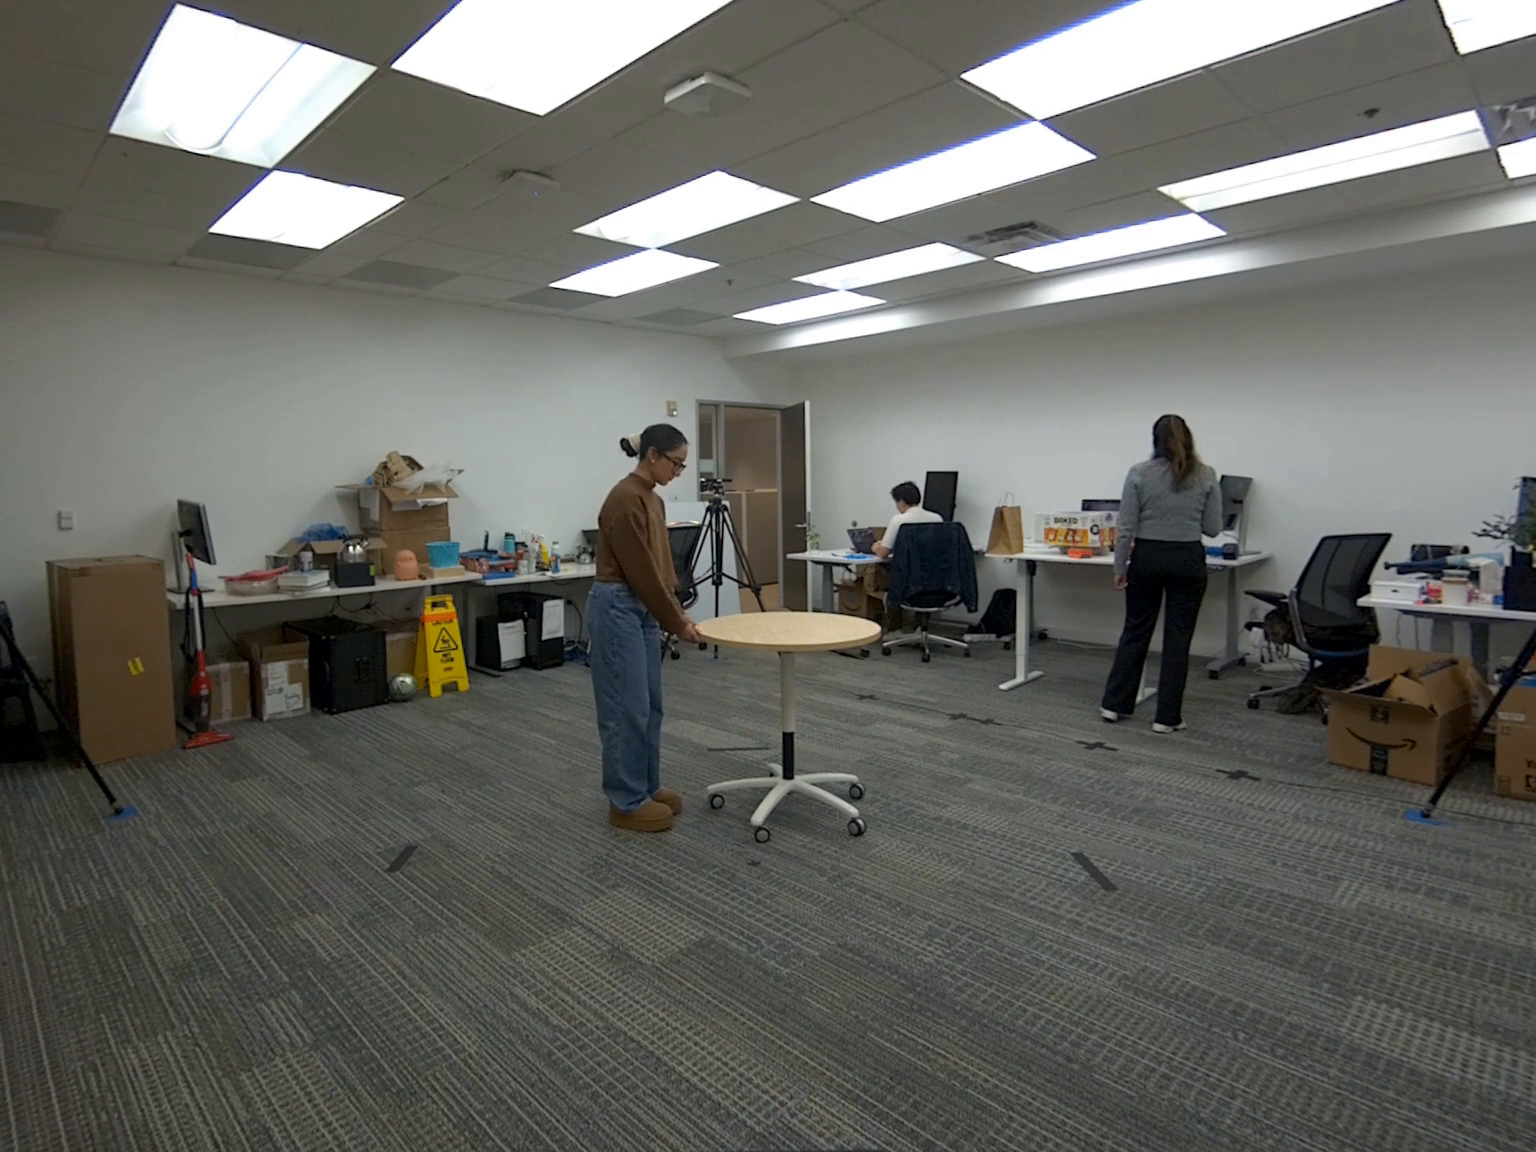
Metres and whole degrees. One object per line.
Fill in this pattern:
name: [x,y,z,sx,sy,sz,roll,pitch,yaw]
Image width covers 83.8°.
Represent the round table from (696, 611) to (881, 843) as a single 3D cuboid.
round table: [0.083,0.600,3.565,0.763,0.791,0.768,-1,5,-2]
